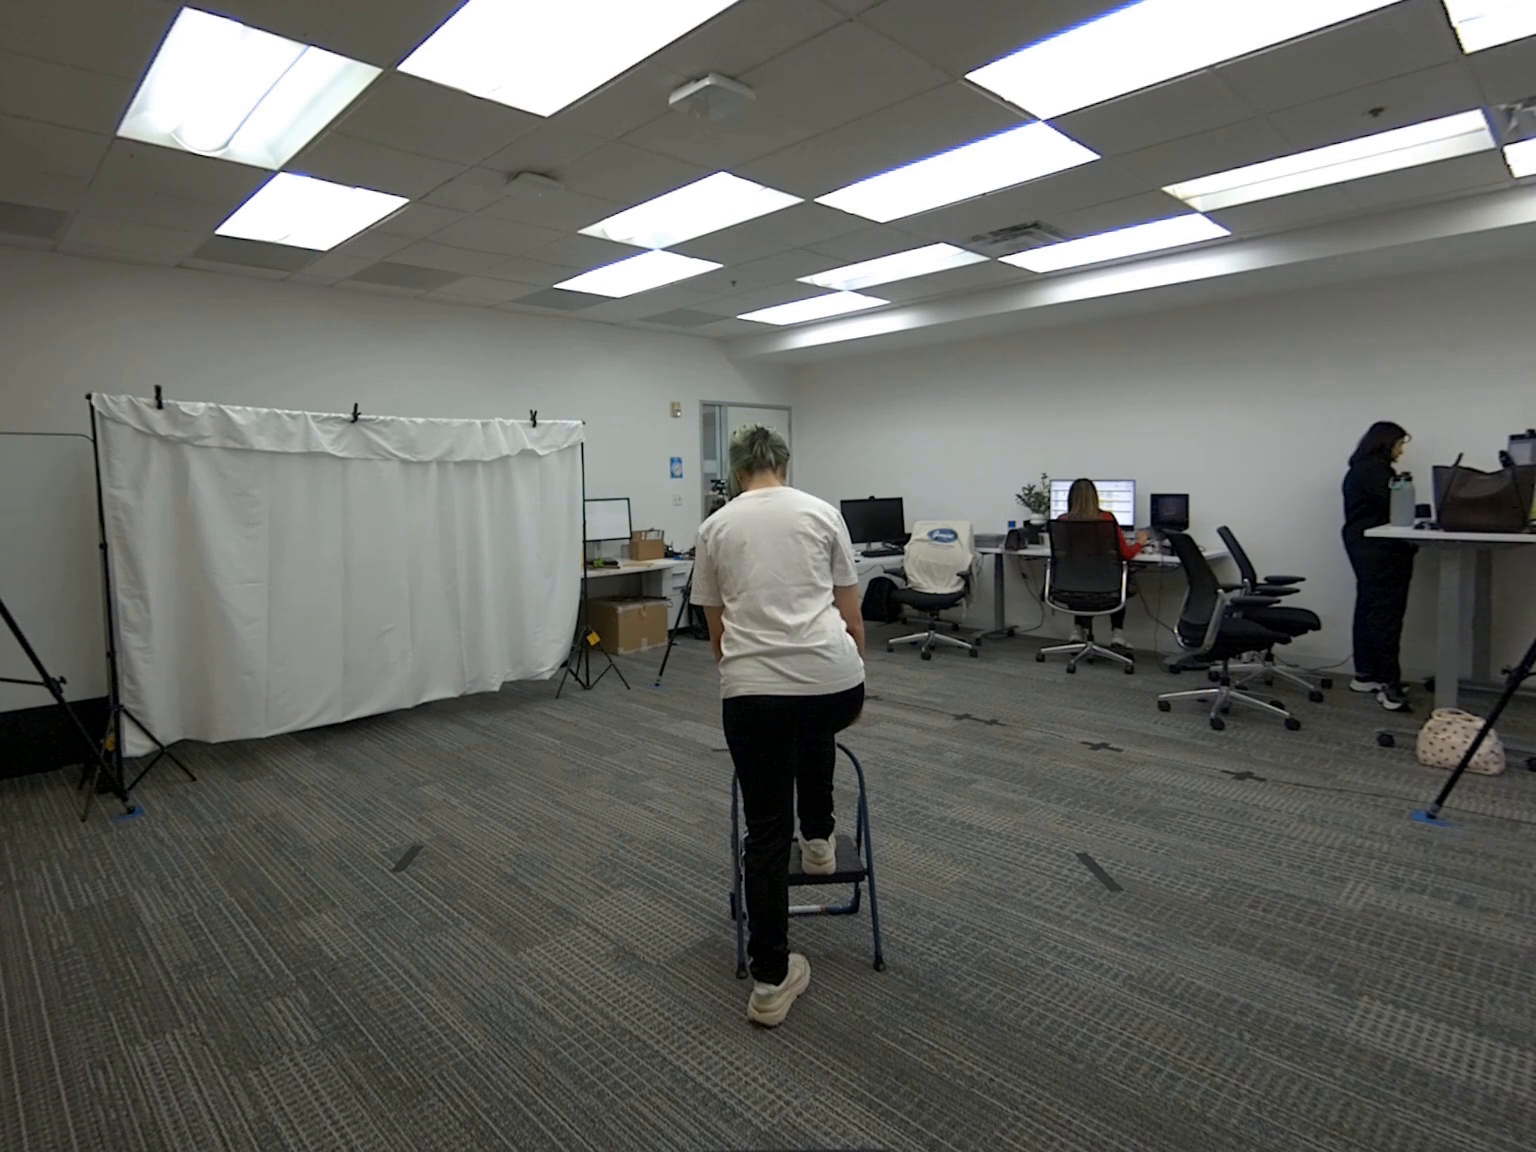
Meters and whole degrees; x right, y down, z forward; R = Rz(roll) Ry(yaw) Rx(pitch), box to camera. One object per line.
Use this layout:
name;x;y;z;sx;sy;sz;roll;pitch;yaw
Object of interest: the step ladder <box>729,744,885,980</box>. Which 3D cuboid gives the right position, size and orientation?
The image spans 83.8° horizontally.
step ladder;0.106;0.811;2.566;0.429;0.604;0.352;-2;4;-4
